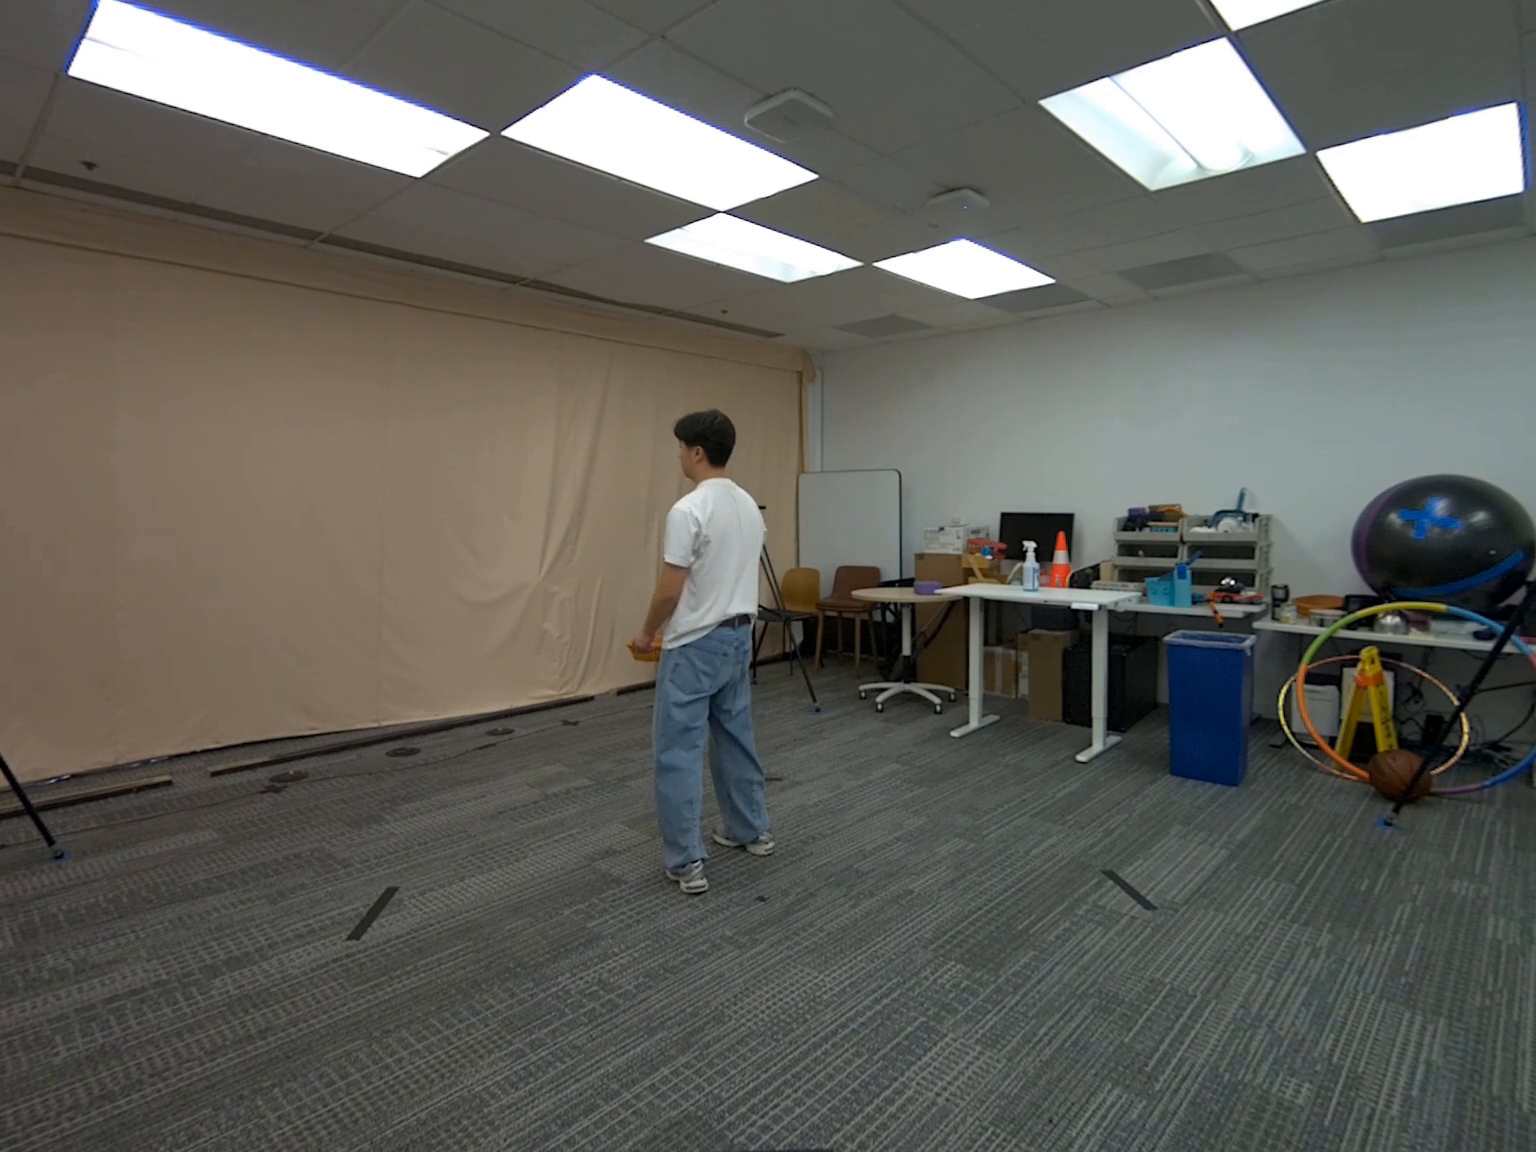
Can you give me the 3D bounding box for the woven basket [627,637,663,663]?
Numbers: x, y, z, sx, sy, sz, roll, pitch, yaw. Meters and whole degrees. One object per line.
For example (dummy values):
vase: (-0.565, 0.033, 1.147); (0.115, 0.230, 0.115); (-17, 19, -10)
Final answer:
woven basket: (-0.404, 0.296, 3.459); (0.340, 0.073, 0.260); (-2, 4, -36)
